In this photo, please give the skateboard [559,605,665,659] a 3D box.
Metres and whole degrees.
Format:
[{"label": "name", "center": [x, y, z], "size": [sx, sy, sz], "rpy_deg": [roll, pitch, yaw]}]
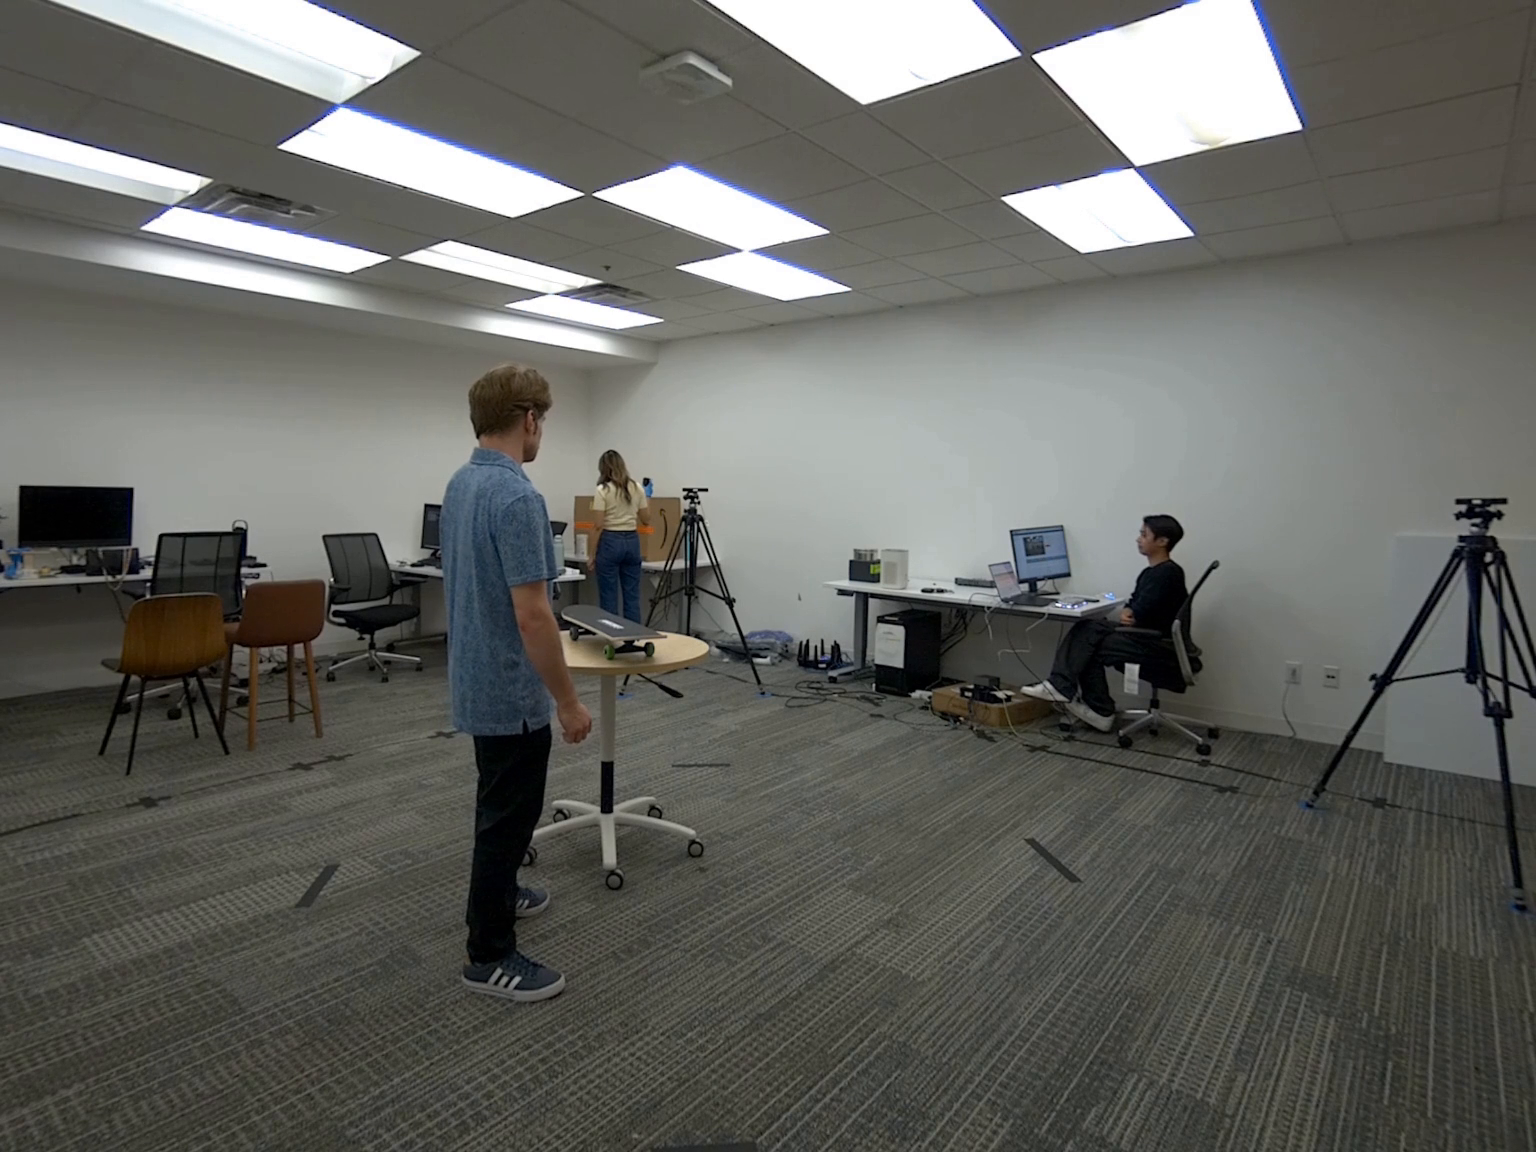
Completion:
[{"label": "skateboard", "center": [-0.611, 0.219, 3.210], "size": [0.189, 0.110, 0.809], "rpy_deg": [-3, 7, -29]}]
